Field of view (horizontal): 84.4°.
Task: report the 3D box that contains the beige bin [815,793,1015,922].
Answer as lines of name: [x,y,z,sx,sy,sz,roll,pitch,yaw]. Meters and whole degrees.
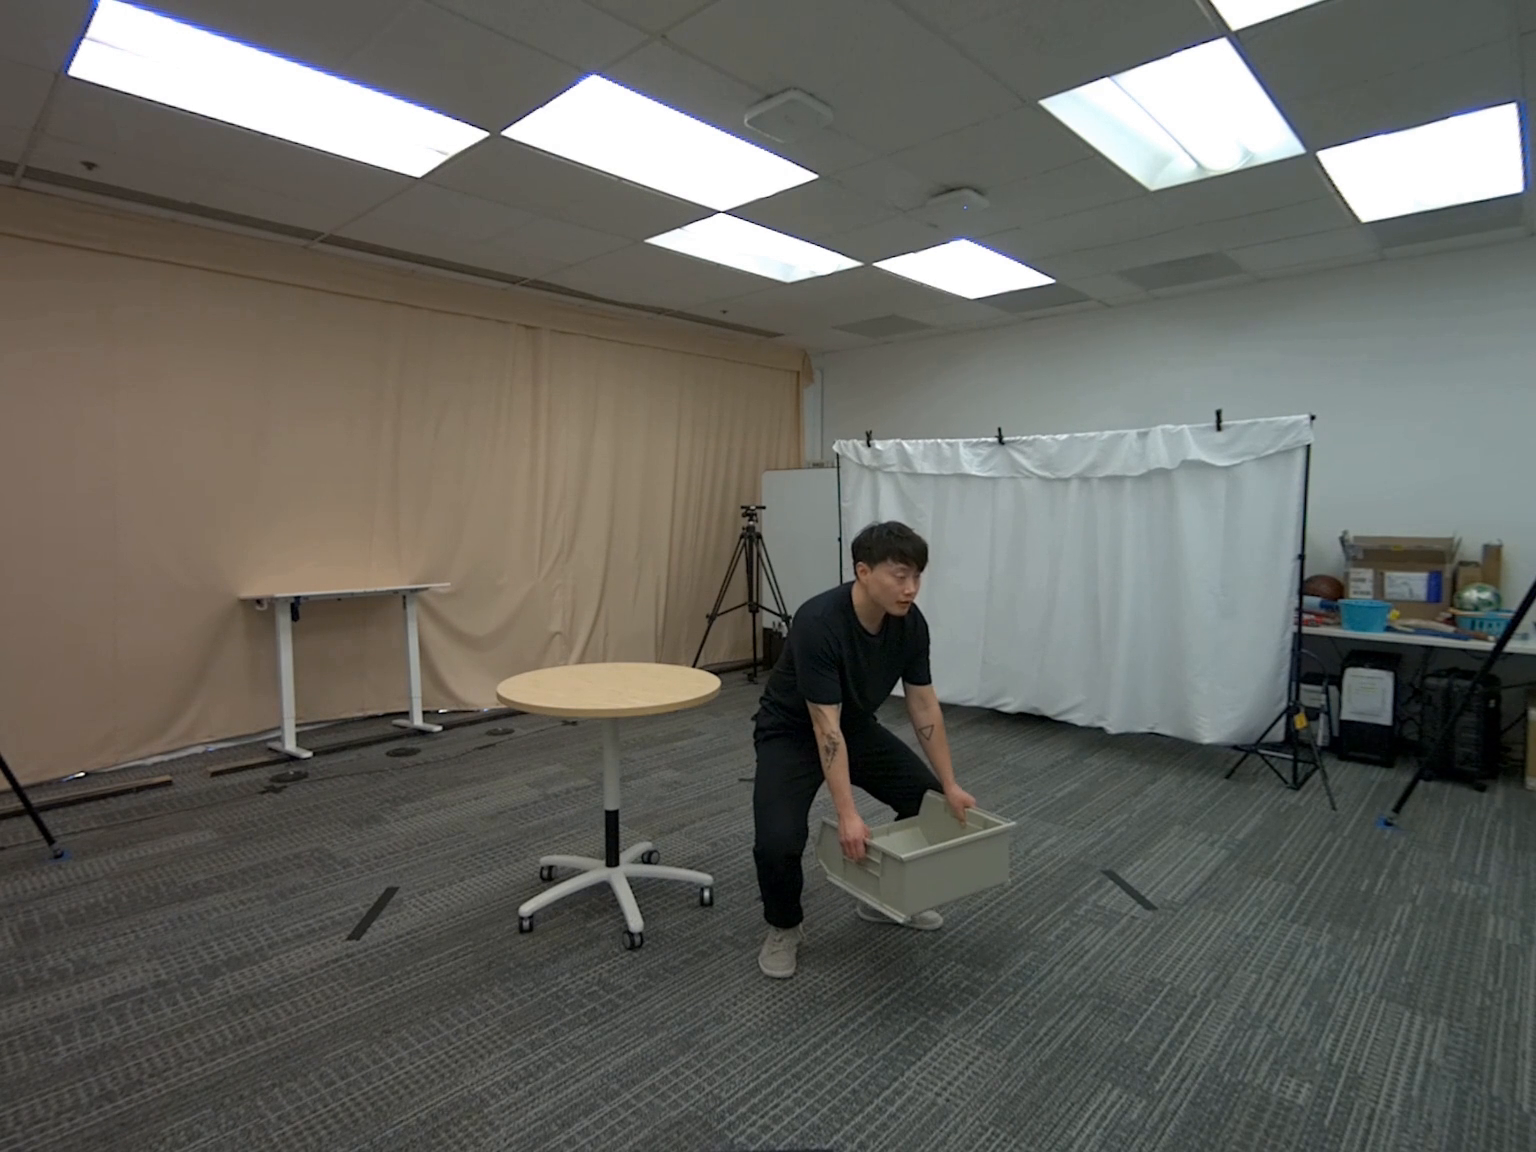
beige bin: [0.418,0.781,2.389,0.411,0.188,0.389,-3,6,-31]
